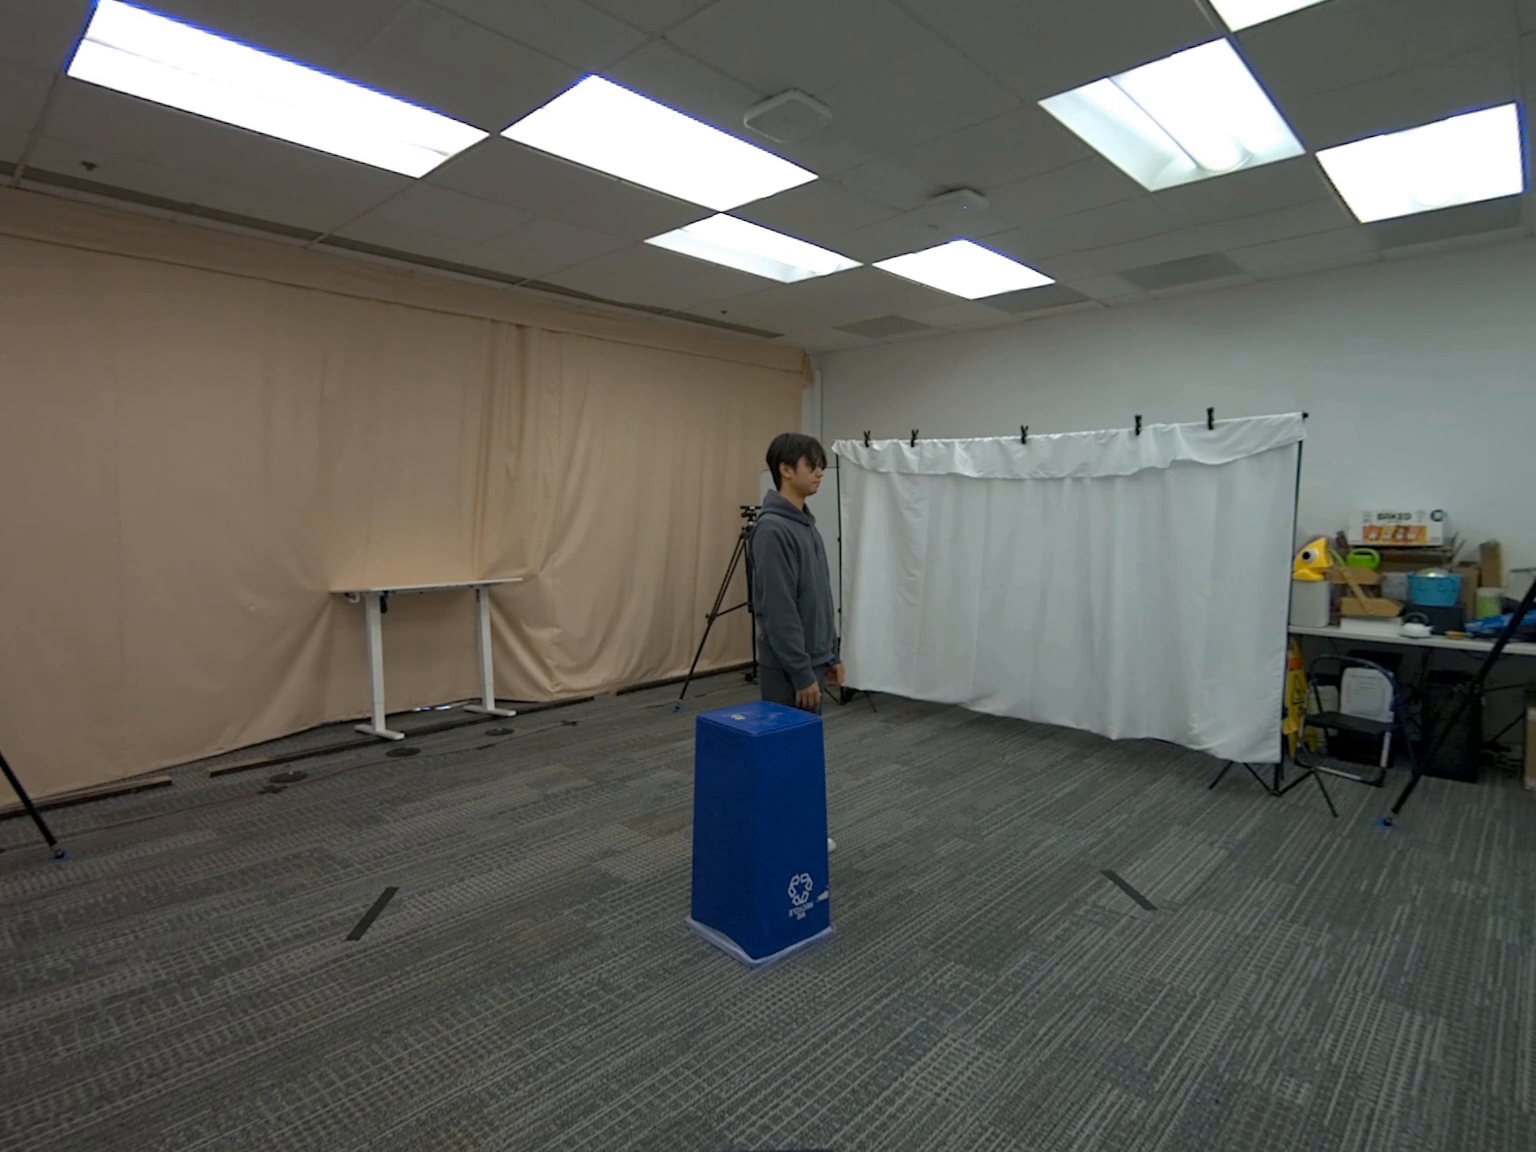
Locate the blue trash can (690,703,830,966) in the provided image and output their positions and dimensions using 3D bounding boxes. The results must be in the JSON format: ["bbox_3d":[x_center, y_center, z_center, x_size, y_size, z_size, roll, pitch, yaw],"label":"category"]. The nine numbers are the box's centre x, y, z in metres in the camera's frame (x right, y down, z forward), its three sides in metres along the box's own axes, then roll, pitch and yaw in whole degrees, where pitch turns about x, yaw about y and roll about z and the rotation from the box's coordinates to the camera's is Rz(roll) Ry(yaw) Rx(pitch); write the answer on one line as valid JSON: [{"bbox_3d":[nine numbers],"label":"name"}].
[{"bbox_3d":[-0.034,0.809,2.755,0.363,0.712,0.390,-3,4,-40],"label":"blue trash can"}]
